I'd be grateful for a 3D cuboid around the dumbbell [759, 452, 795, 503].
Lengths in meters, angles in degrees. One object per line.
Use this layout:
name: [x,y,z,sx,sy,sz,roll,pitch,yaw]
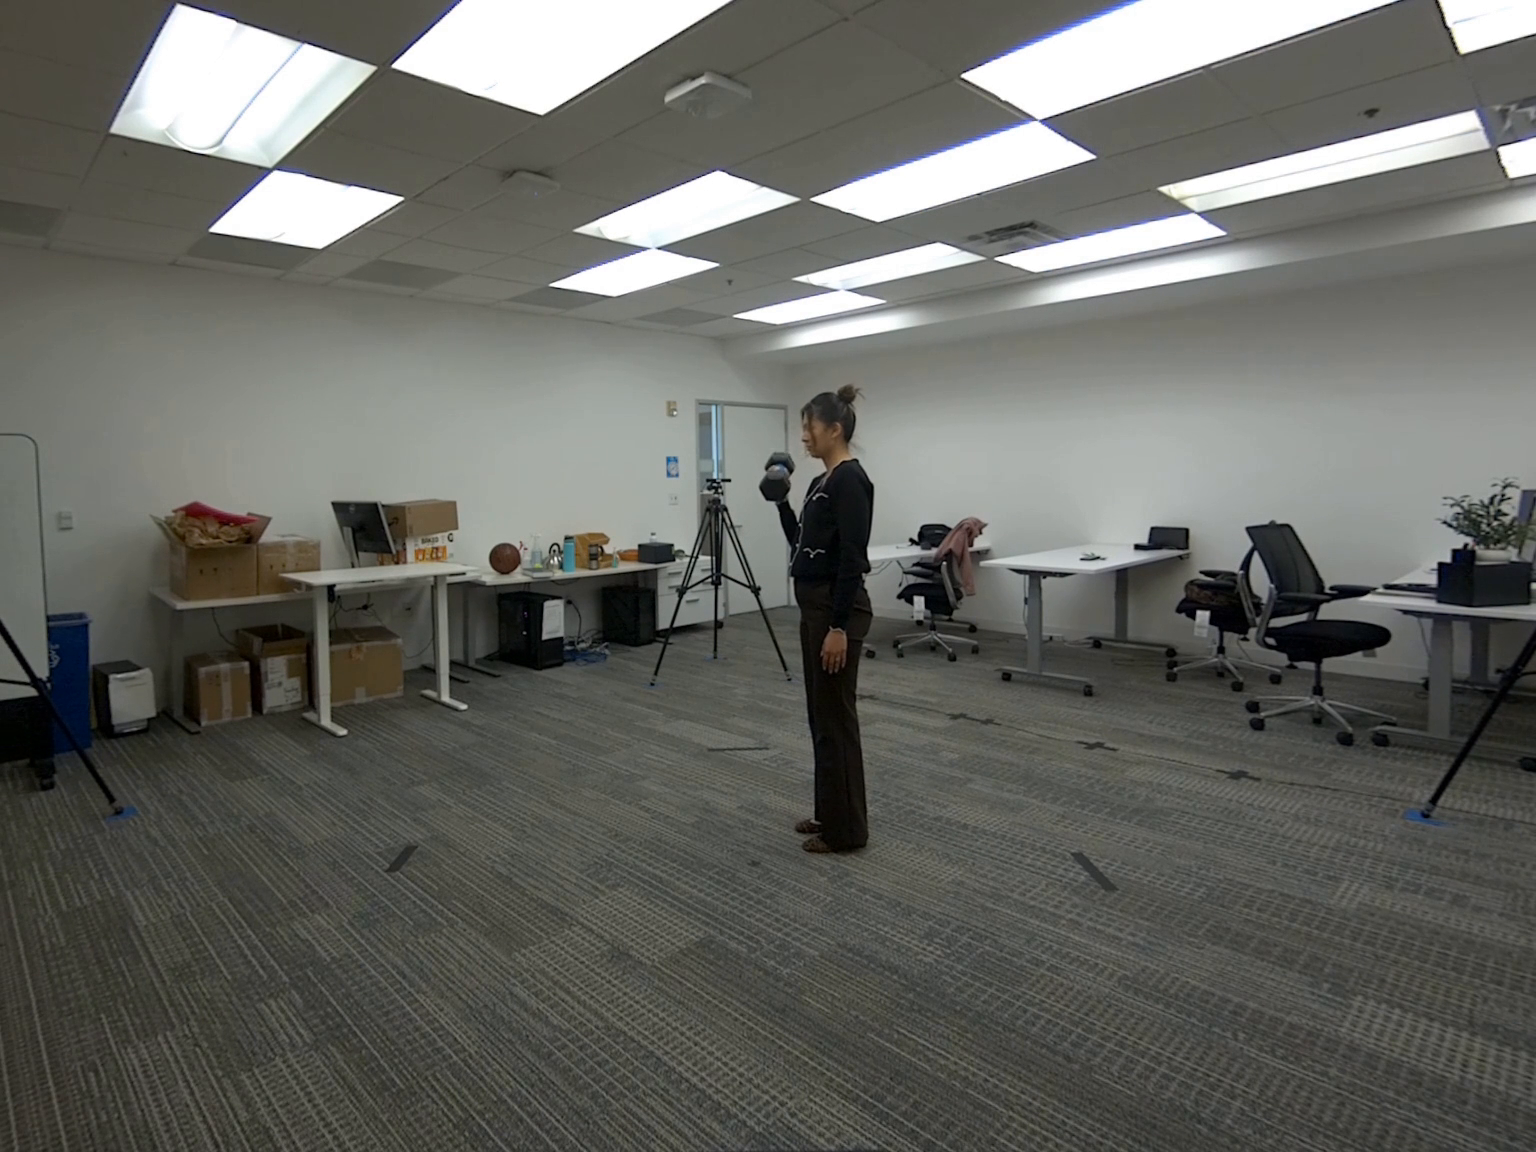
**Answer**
dumbbell: [0.047,-0.399,3.414,0.124,0.106,0.298,2,28,6]
